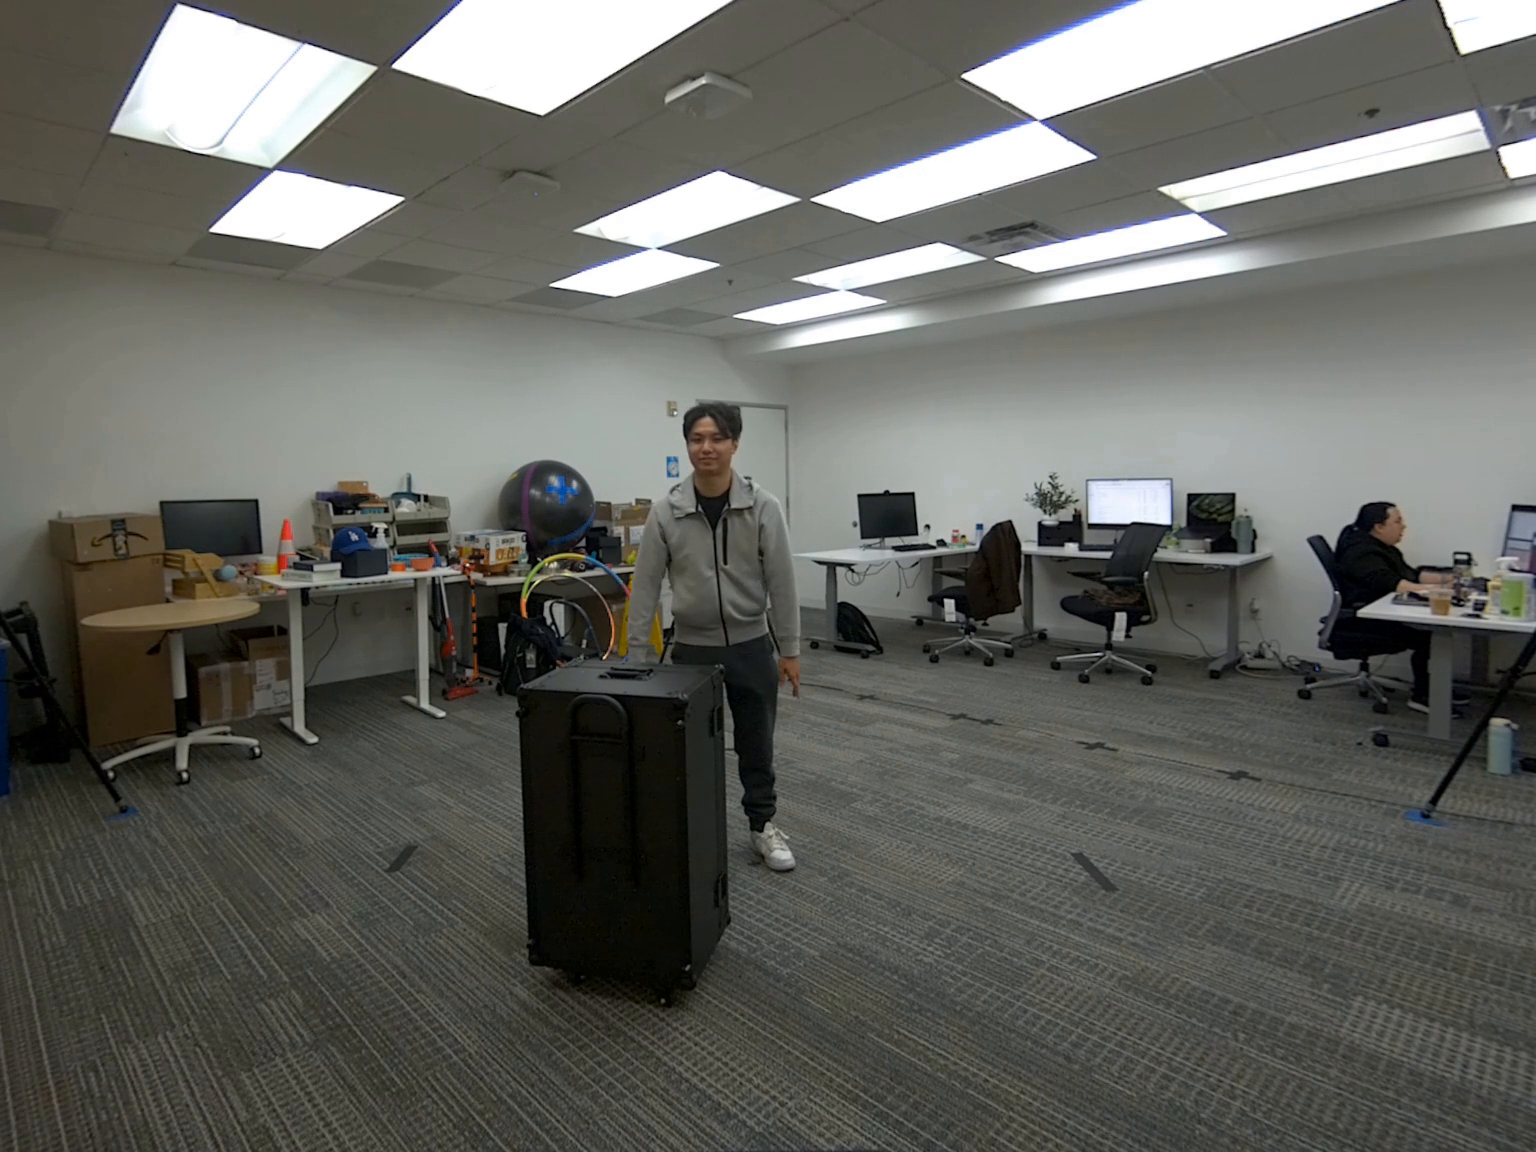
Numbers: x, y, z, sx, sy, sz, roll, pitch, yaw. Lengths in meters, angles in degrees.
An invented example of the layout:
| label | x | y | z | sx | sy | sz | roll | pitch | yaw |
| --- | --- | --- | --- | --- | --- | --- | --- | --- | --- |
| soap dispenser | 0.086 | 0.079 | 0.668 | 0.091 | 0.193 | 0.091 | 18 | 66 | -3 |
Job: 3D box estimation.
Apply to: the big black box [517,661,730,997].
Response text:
| label | x | y | z | sx | sy | sz | roll | pitch | yaw |
| --- | --- | --- | --- | --- | --- | --- | --- | --- | --- |
| big black box | -0.396 | 0.706 | 2.426 | 0.530 | 0.858 | 0.392 | 0 | 5 | 16 |
